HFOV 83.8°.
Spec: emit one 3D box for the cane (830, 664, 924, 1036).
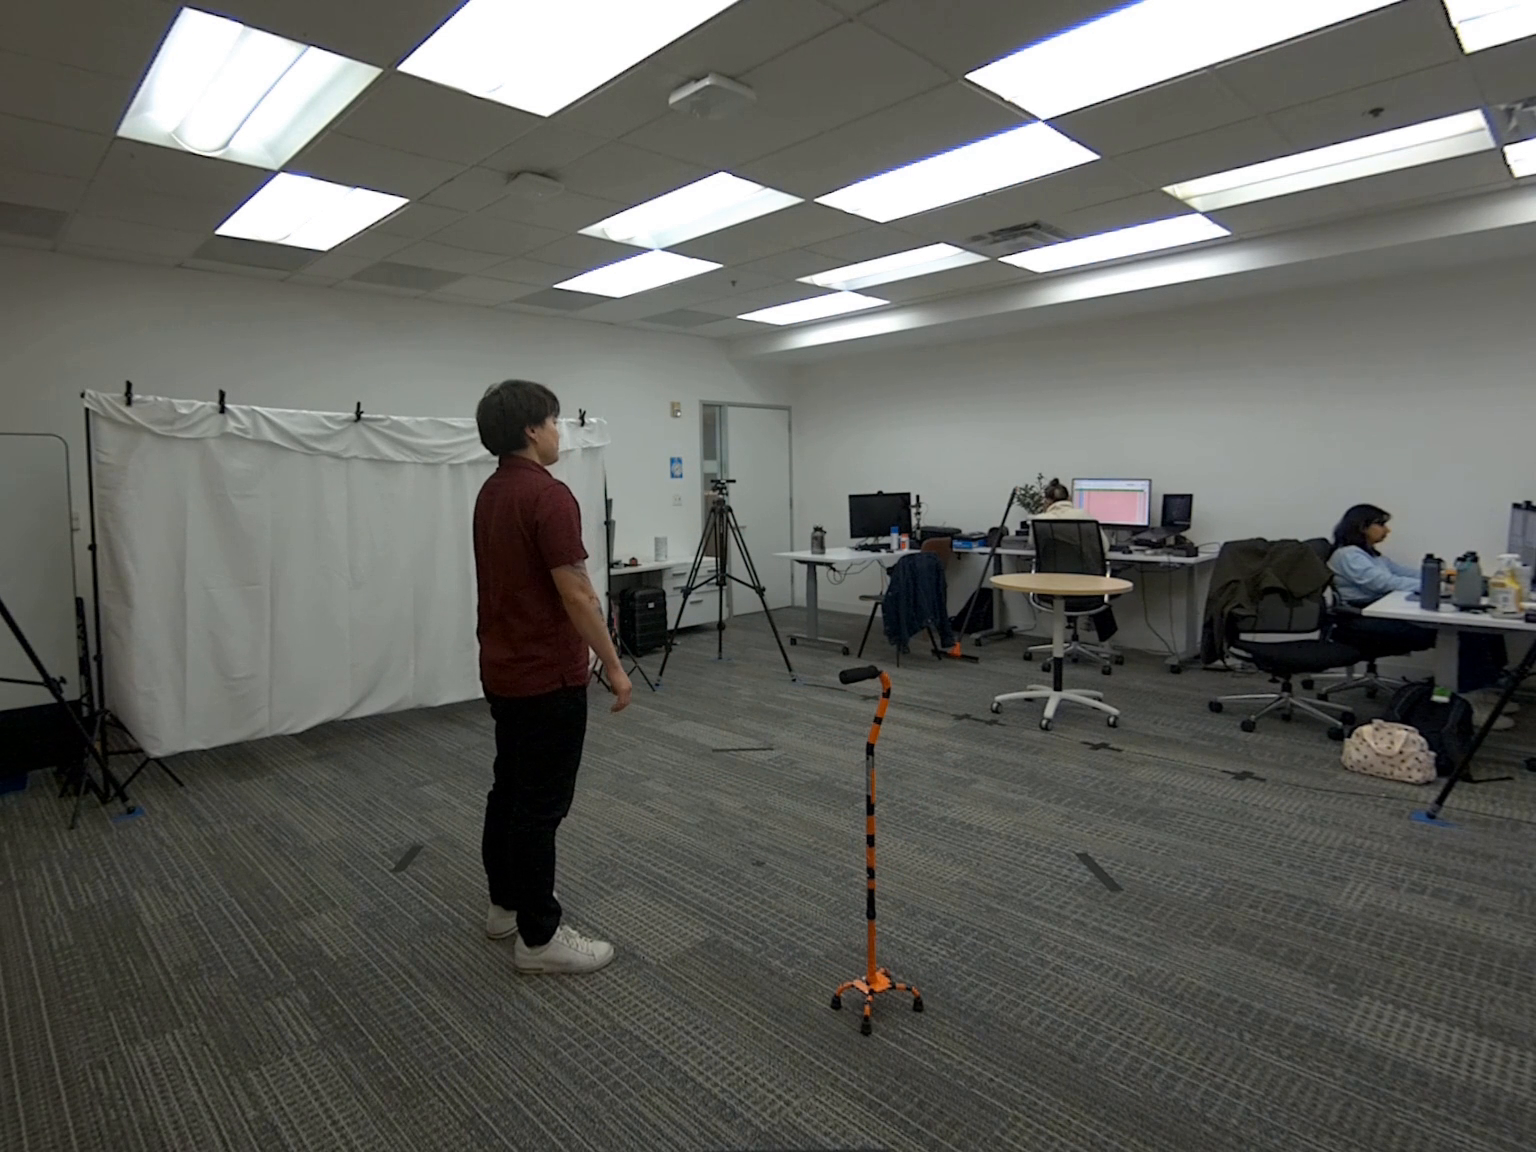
[{"bbox_3d":[0.275,0.682,2.227,0.202,0.904,0.156,-4,5,-30],"label":"cane"}]
